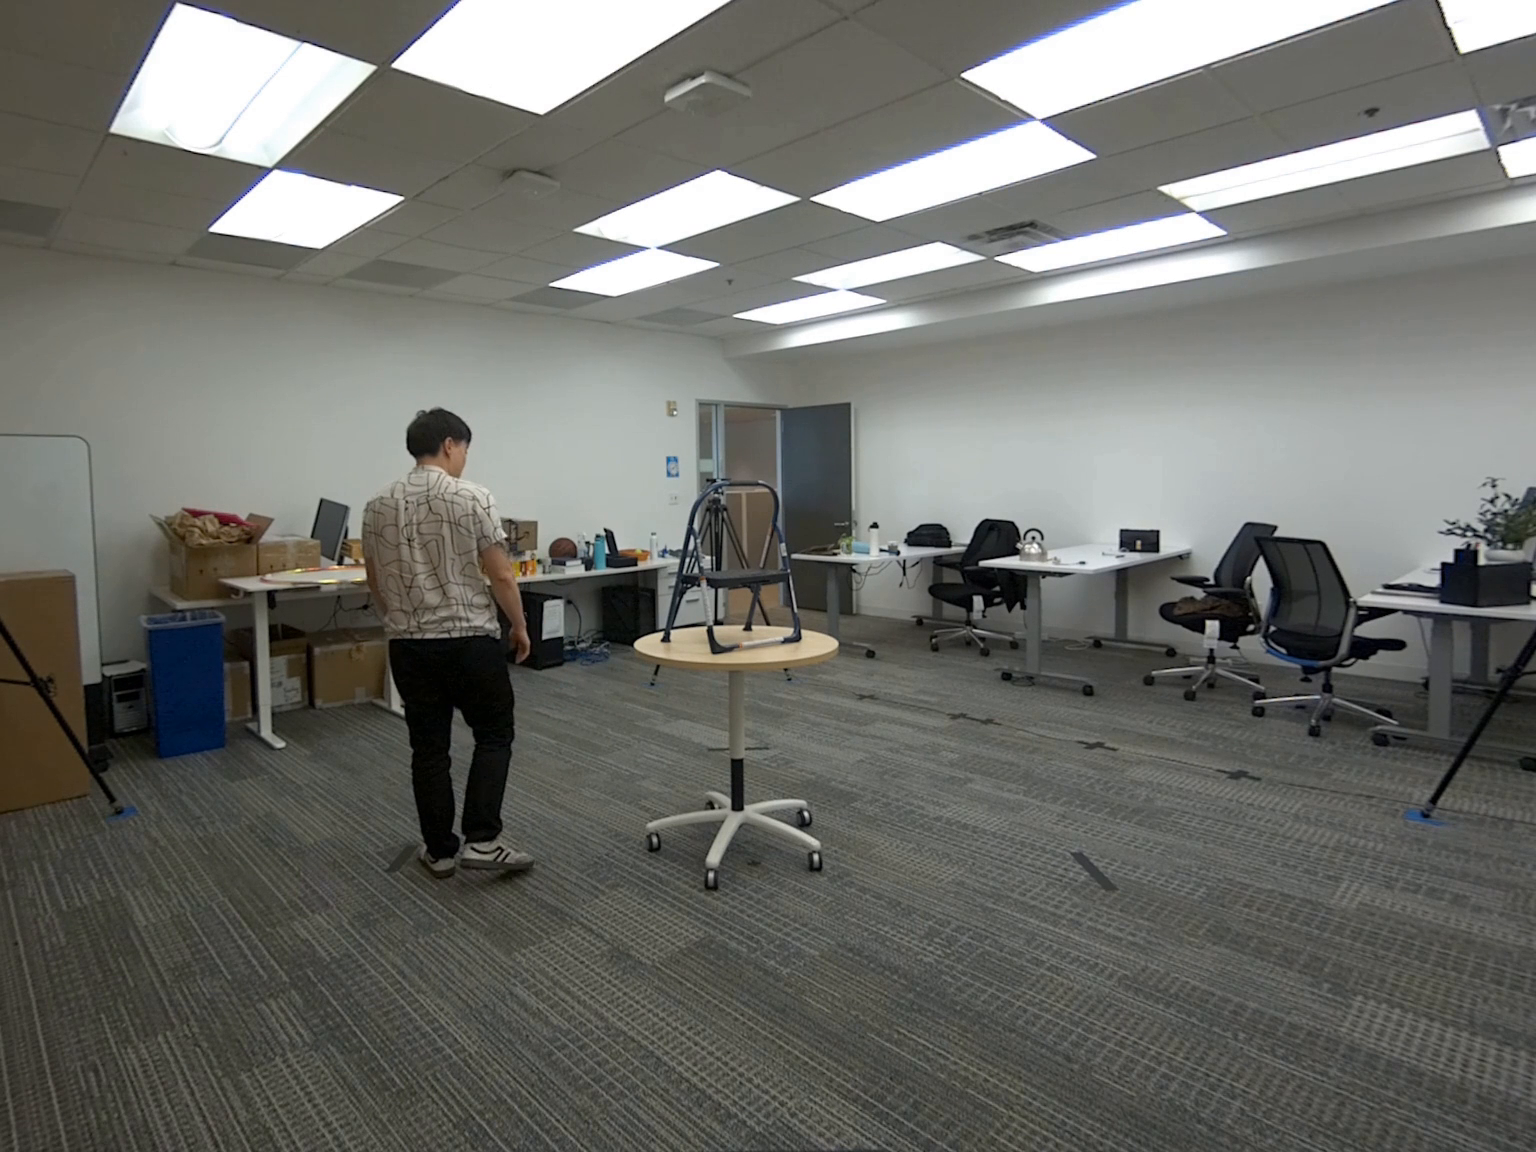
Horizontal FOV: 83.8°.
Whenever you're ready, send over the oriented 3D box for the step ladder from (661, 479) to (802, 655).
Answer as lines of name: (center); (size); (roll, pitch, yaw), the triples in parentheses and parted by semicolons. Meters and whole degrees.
step ladder: (-0.140, -0.053, 3.217); (0.419, 0.604, 0.359); (-4, 5, -38)
